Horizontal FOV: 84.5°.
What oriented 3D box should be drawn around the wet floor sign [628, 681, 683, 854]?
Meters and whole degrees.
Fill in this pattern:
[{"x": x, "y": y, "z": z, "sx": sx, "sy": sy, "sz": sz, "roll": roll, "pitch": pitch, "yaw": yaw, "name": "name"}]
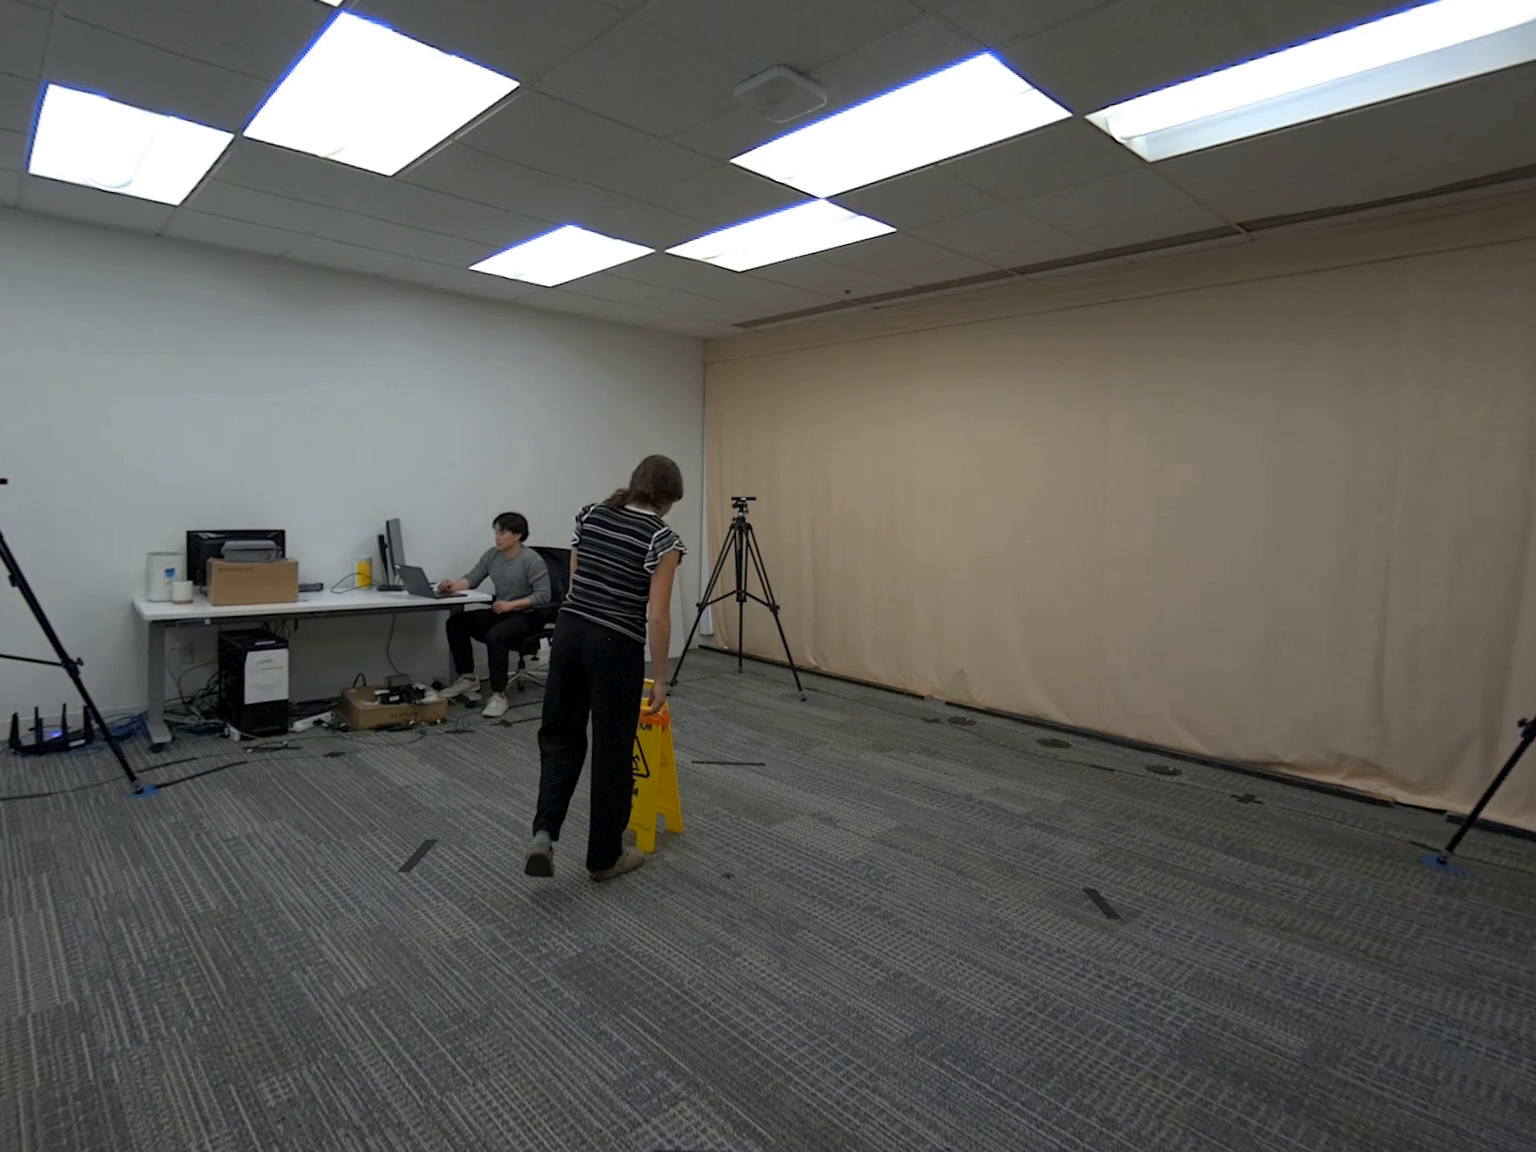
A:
[{"x": -0.530, "y": 0.747, "z": 3.440, "sx": 0.287, "sy": 0.645, "sz": 0.285, "roll": 3, "pitch": 2, "yaw": 24, "name": "wet floor sign"}]
